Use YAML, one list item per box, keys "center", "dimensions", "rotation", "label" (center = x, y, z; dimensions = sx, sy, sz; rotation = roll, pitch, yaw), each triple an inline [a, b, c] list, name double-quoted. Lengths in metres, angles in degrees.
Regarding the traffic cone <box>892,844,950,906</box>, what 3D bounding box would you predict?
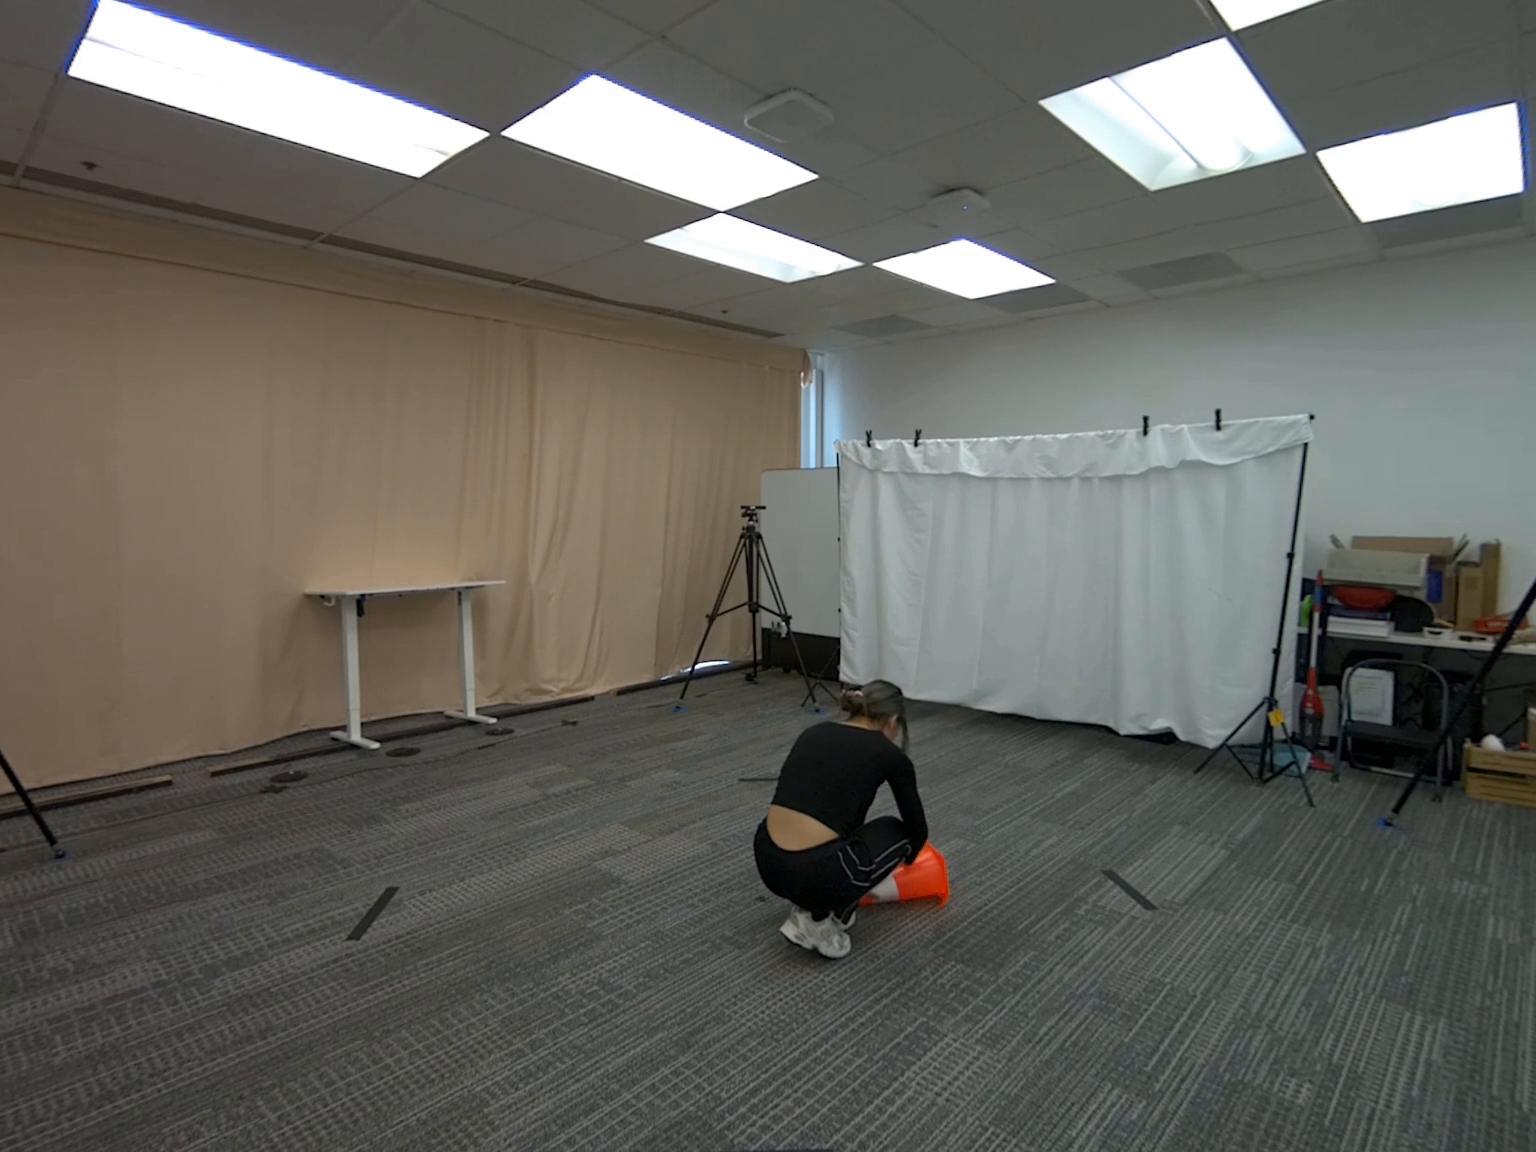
- center: [0.414, 1.082, 2.955]
  dimensions: [0.381, 0.202, 0.207]
  rotation: [-10, 6, -7]
  label: "traffic cone"
